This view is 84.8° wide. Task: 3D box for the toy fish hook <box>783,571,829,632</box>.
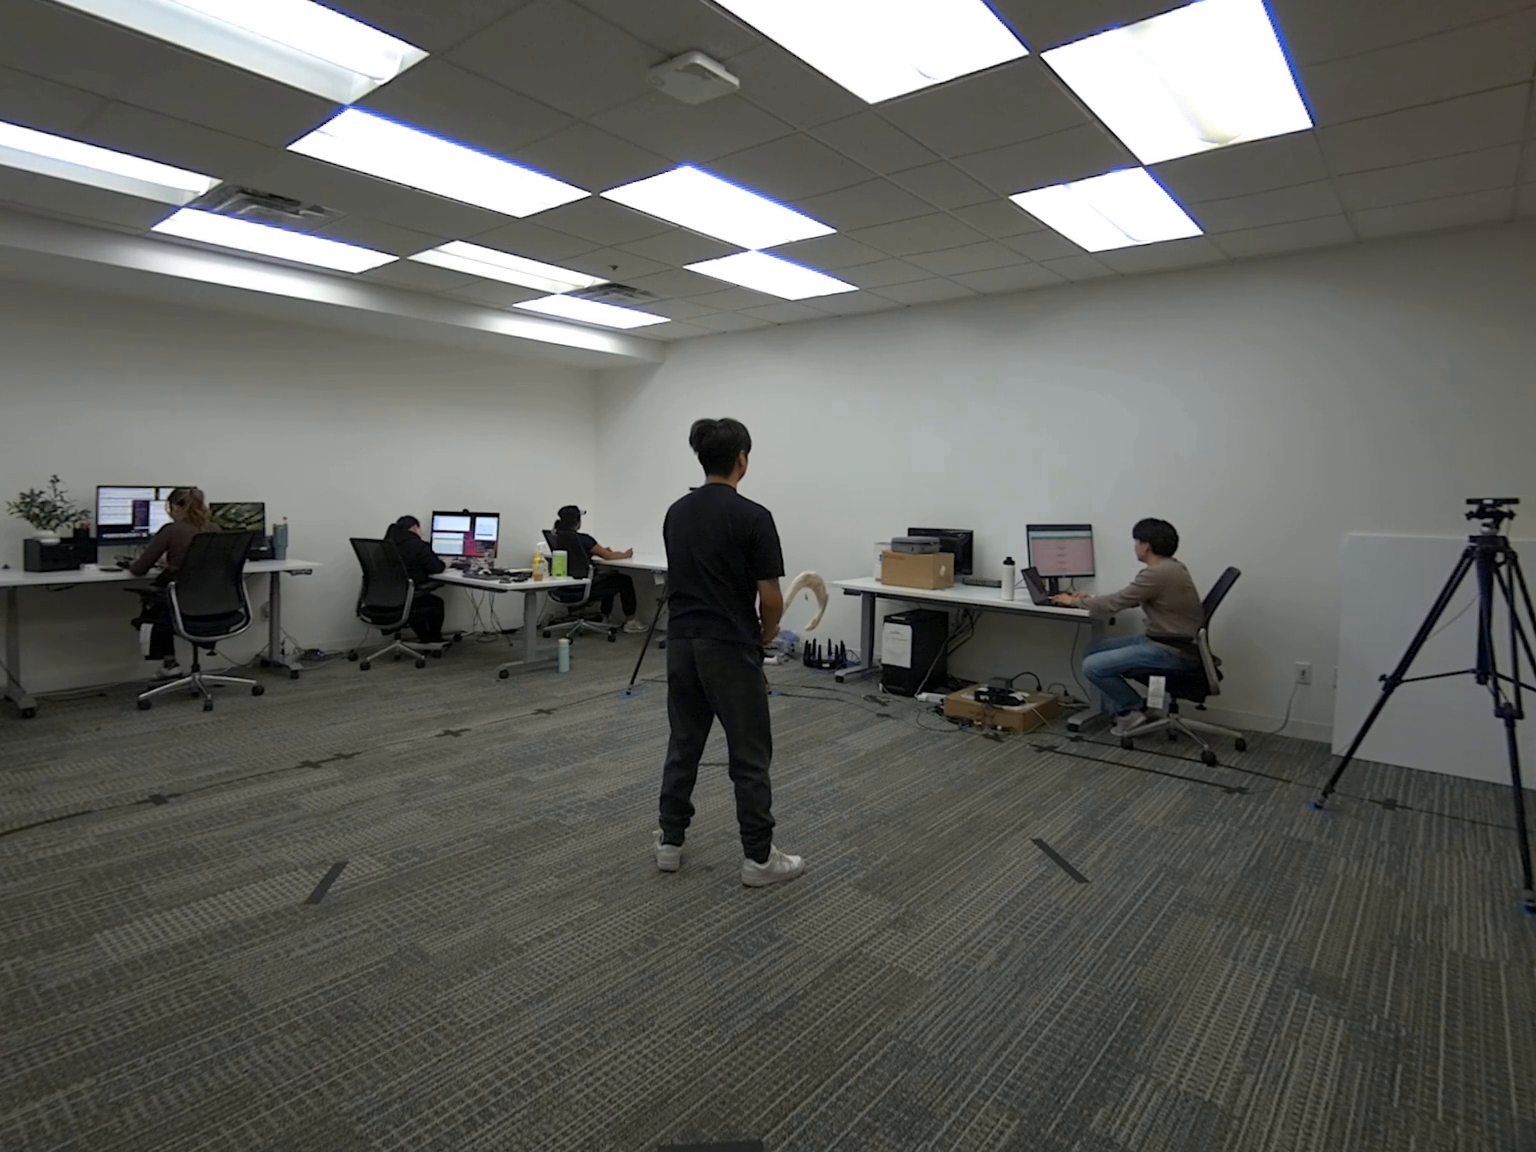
[{"bbox_3d":[0.073,0.201,3.344,0.049,0.220,0.504,-10,26,51],"label":"toy fish hook"}]
